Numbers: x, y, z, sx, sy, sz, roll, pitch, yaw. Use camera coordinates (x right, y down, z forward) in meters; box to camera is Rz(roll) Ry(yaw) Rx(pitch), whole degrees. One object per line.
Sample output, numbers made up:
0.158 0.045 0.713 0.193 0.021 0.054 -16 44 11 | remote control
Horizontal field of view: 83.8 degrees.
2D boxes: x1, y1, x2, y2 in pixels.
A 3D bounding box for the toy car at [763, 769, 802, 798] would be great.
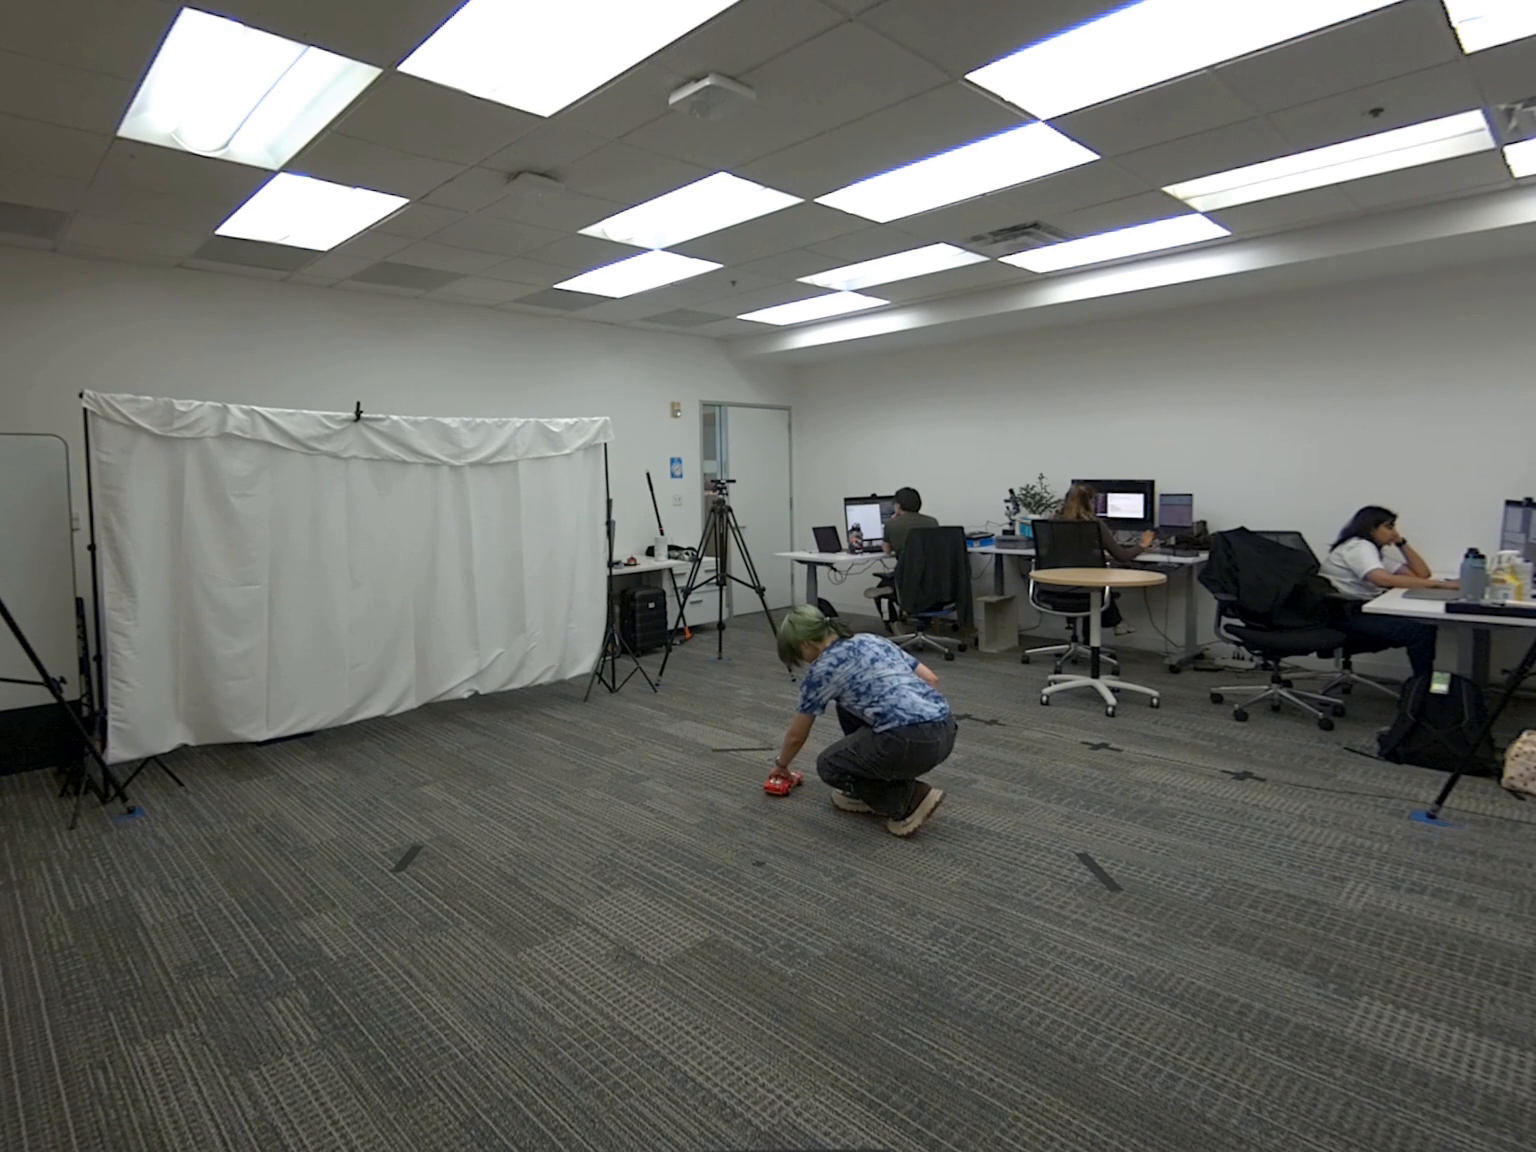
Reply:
0.063 0.935 3.836 0.133 0.083 0.247 3 -4 25 | toy car
